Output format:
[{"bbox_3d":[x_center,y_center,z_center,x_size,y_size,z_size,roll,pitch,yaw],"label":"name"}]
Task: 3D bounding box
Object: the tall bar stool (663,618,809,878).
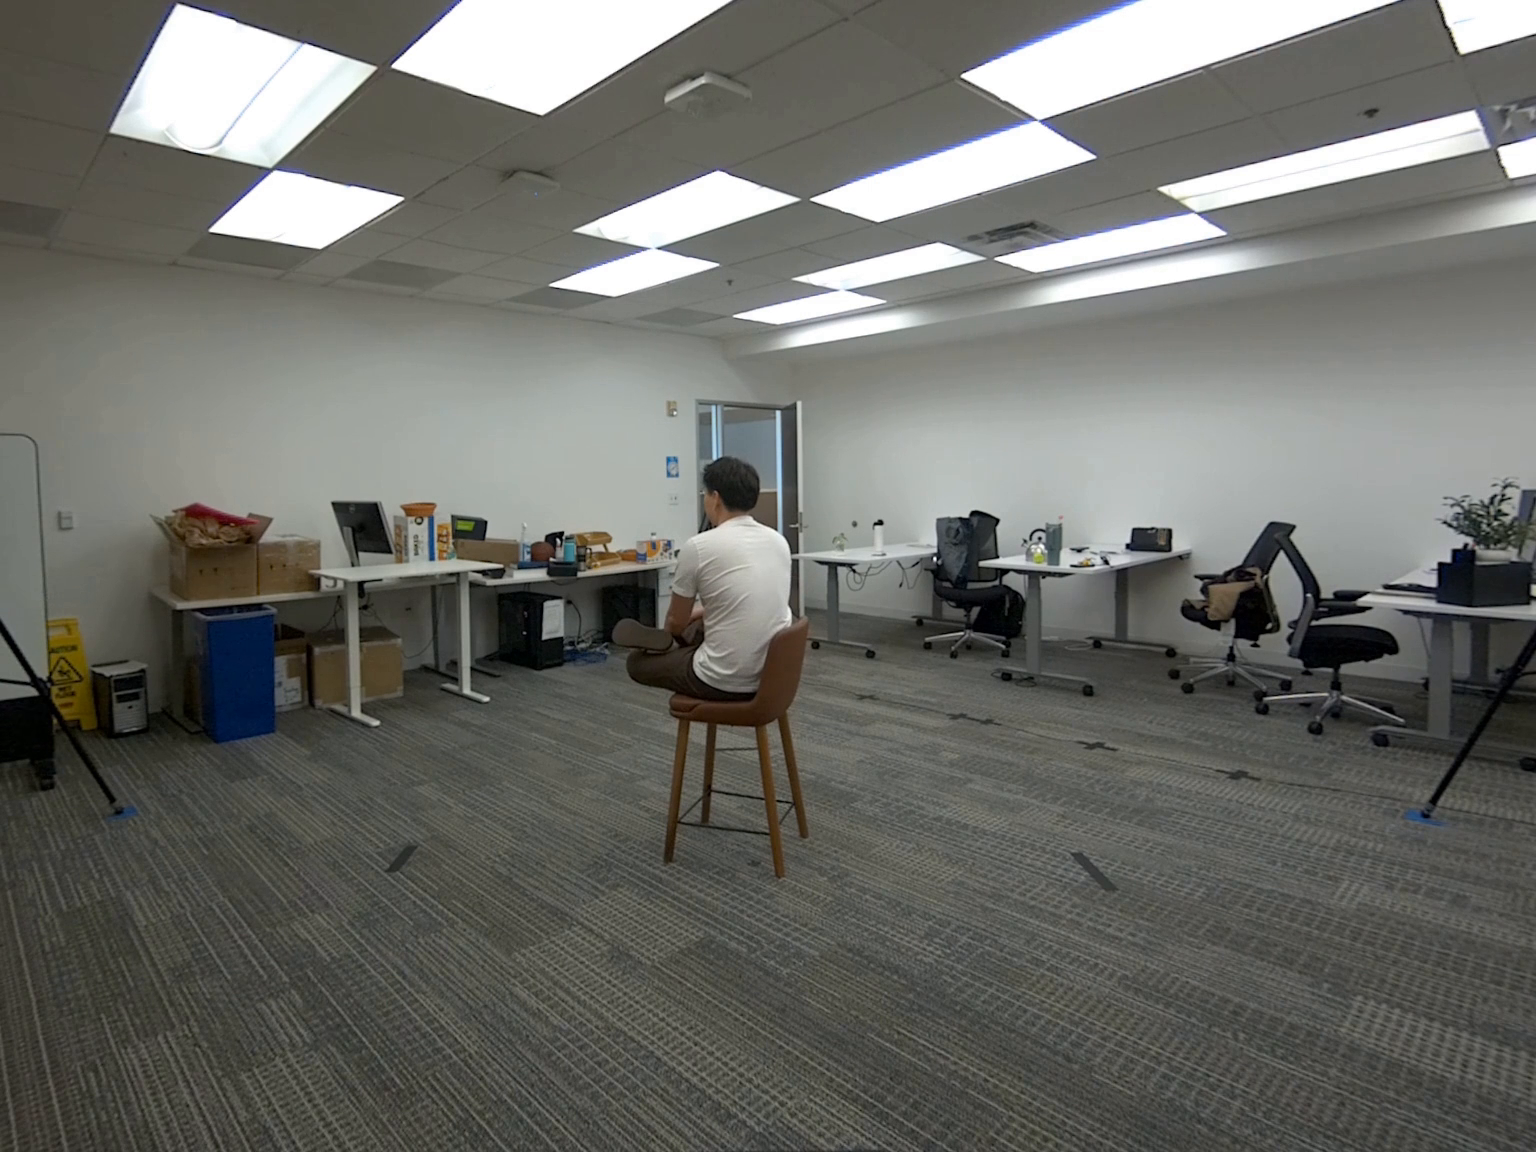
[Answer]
[{"bbox_3d":[-0.103,0.604,3.211,0.477,0.886,0.449,3,5,20],"label":"tall bar stool"}]
